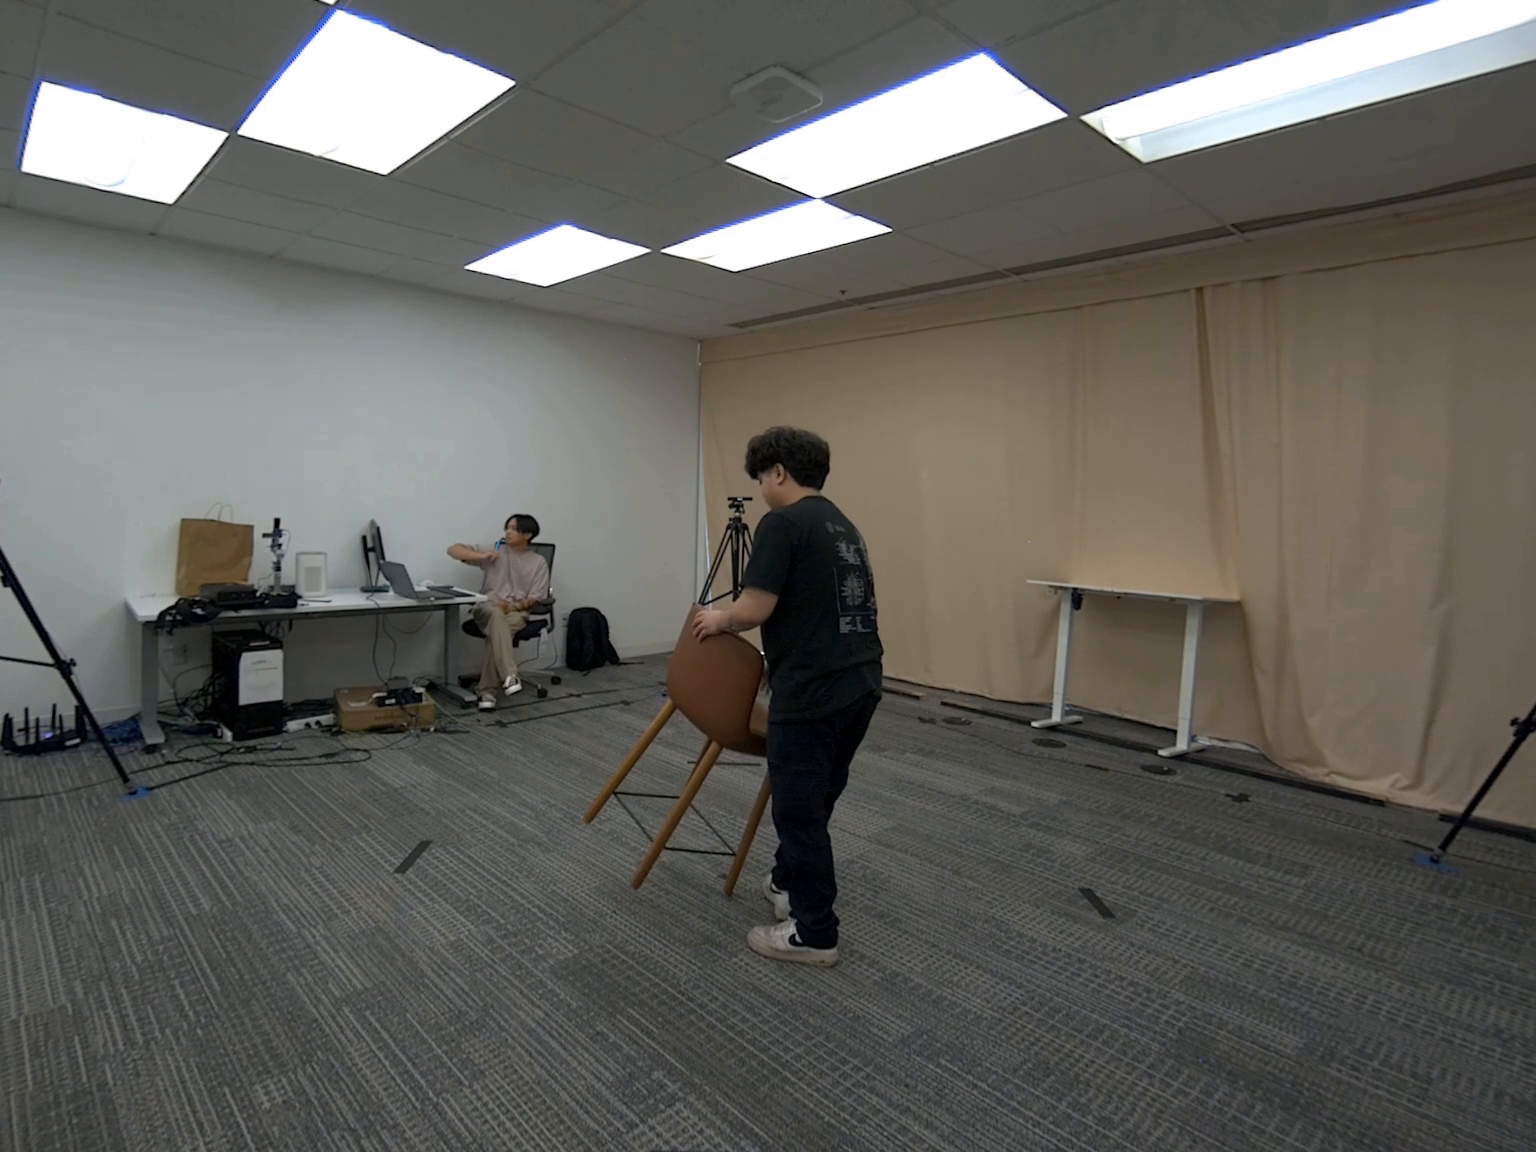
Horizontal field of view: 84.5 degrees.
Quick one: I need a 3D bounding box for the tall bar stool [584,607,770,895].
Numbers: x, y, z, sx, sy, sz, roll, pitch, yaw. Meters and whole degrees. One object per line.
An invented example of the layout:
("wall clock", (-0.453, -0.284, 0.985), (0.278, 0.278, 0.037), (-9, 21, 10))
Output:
("tall bar stool", (-0.209, 0.600, 2.923), (0.454, 0.888, 0.471), (21, 8, -43))
